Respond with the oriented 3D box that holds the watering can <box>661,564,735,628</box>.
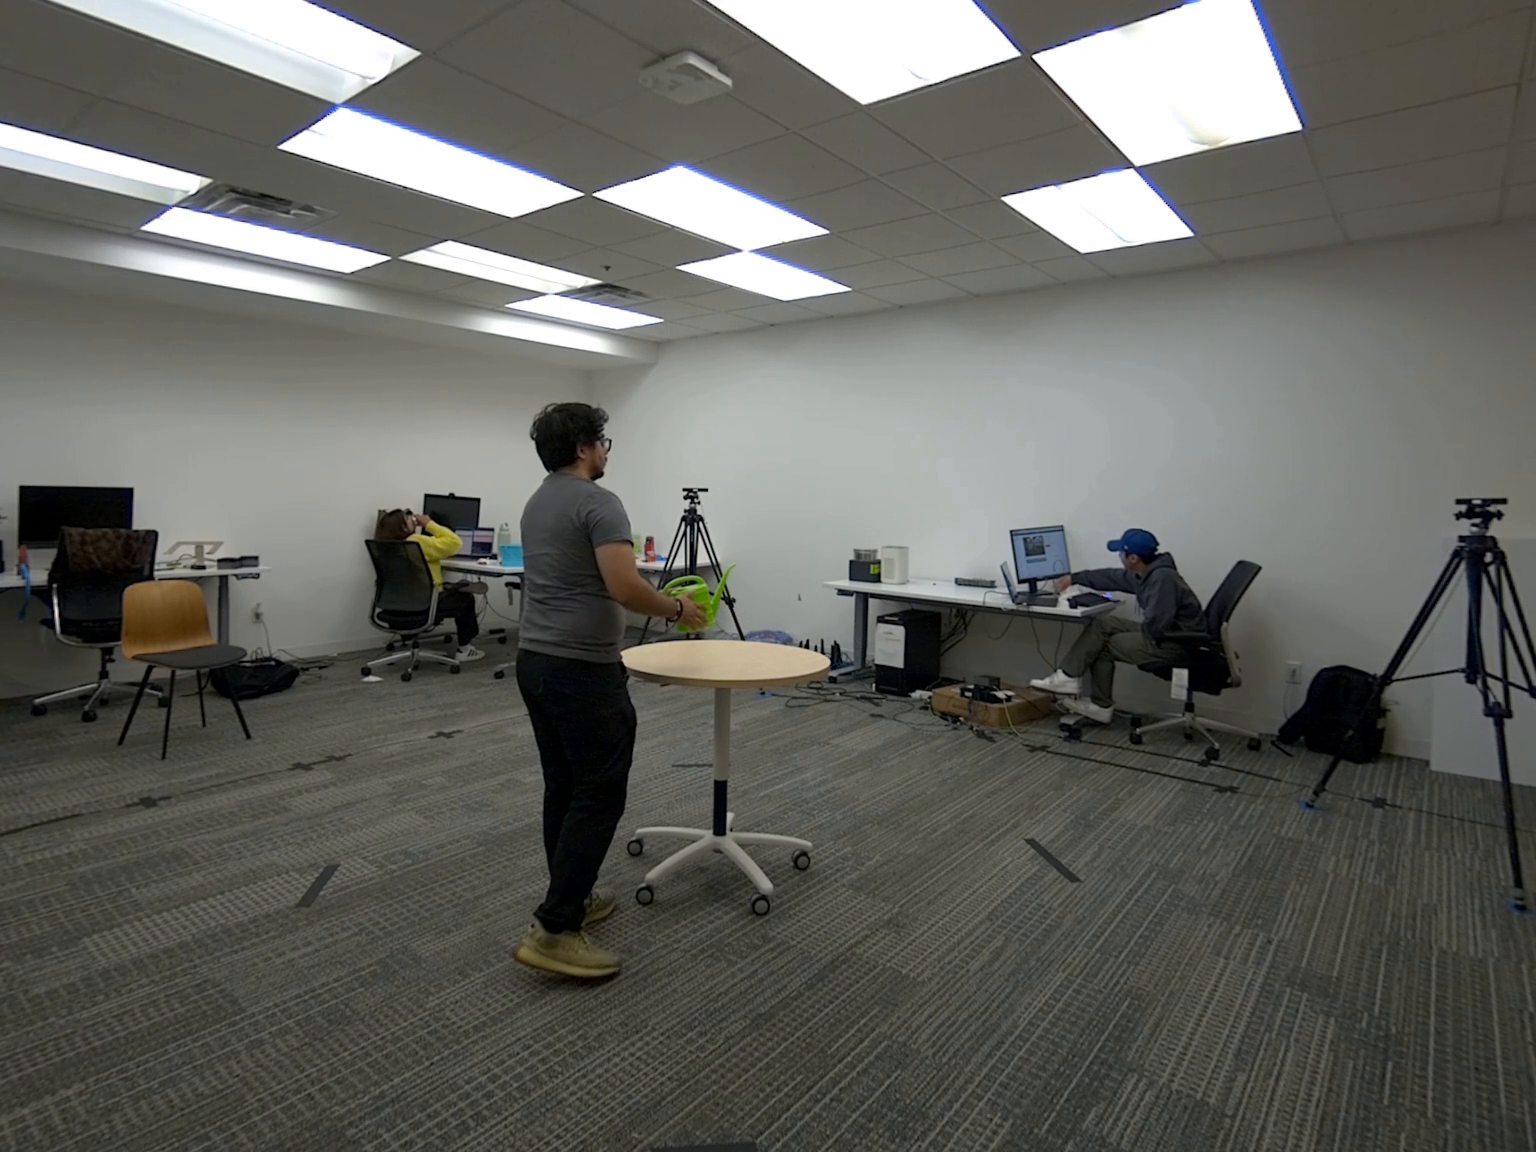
[{"bbox_3d":[-0.223,0.079,2.786,0.277,0.176,0.099,-11,6,-4],"label":"watering can"}]
